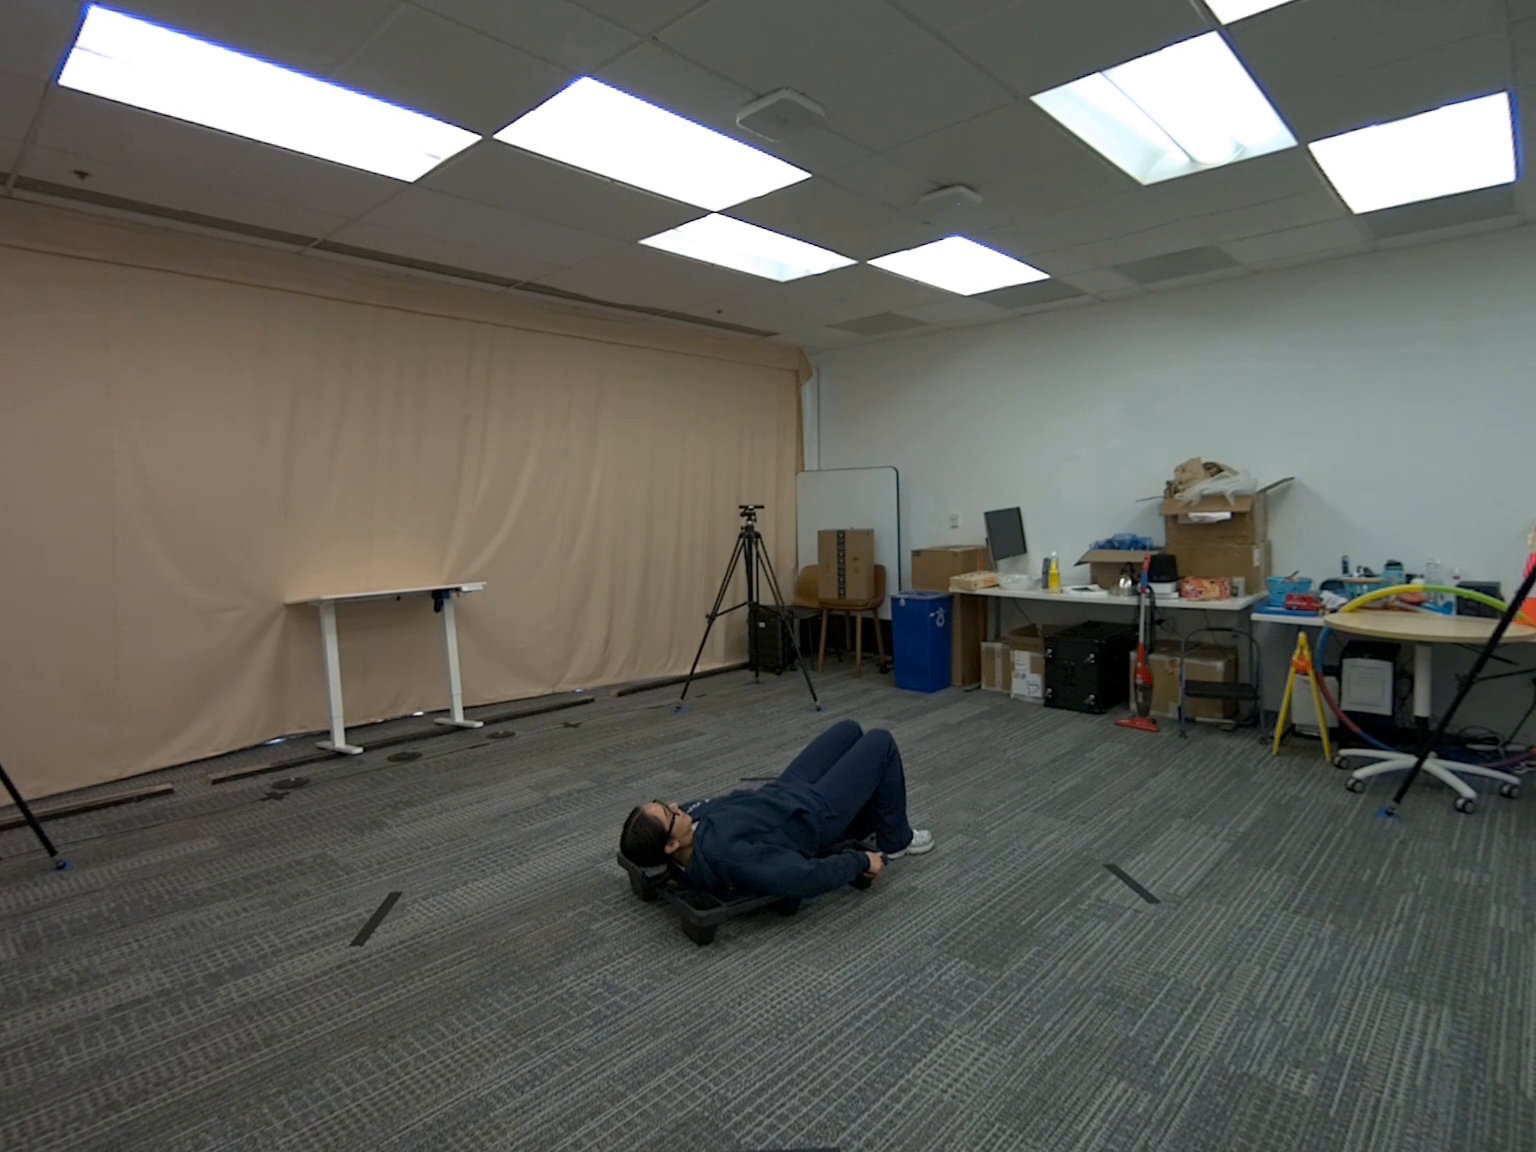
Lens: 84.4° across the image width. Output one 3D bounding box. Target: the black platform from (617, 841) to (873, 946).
[{"bbox_3d":[-0.072,1.075,3.051,0.783,0.143,0.624,-4,7,-33],"label":"black platform"}]
